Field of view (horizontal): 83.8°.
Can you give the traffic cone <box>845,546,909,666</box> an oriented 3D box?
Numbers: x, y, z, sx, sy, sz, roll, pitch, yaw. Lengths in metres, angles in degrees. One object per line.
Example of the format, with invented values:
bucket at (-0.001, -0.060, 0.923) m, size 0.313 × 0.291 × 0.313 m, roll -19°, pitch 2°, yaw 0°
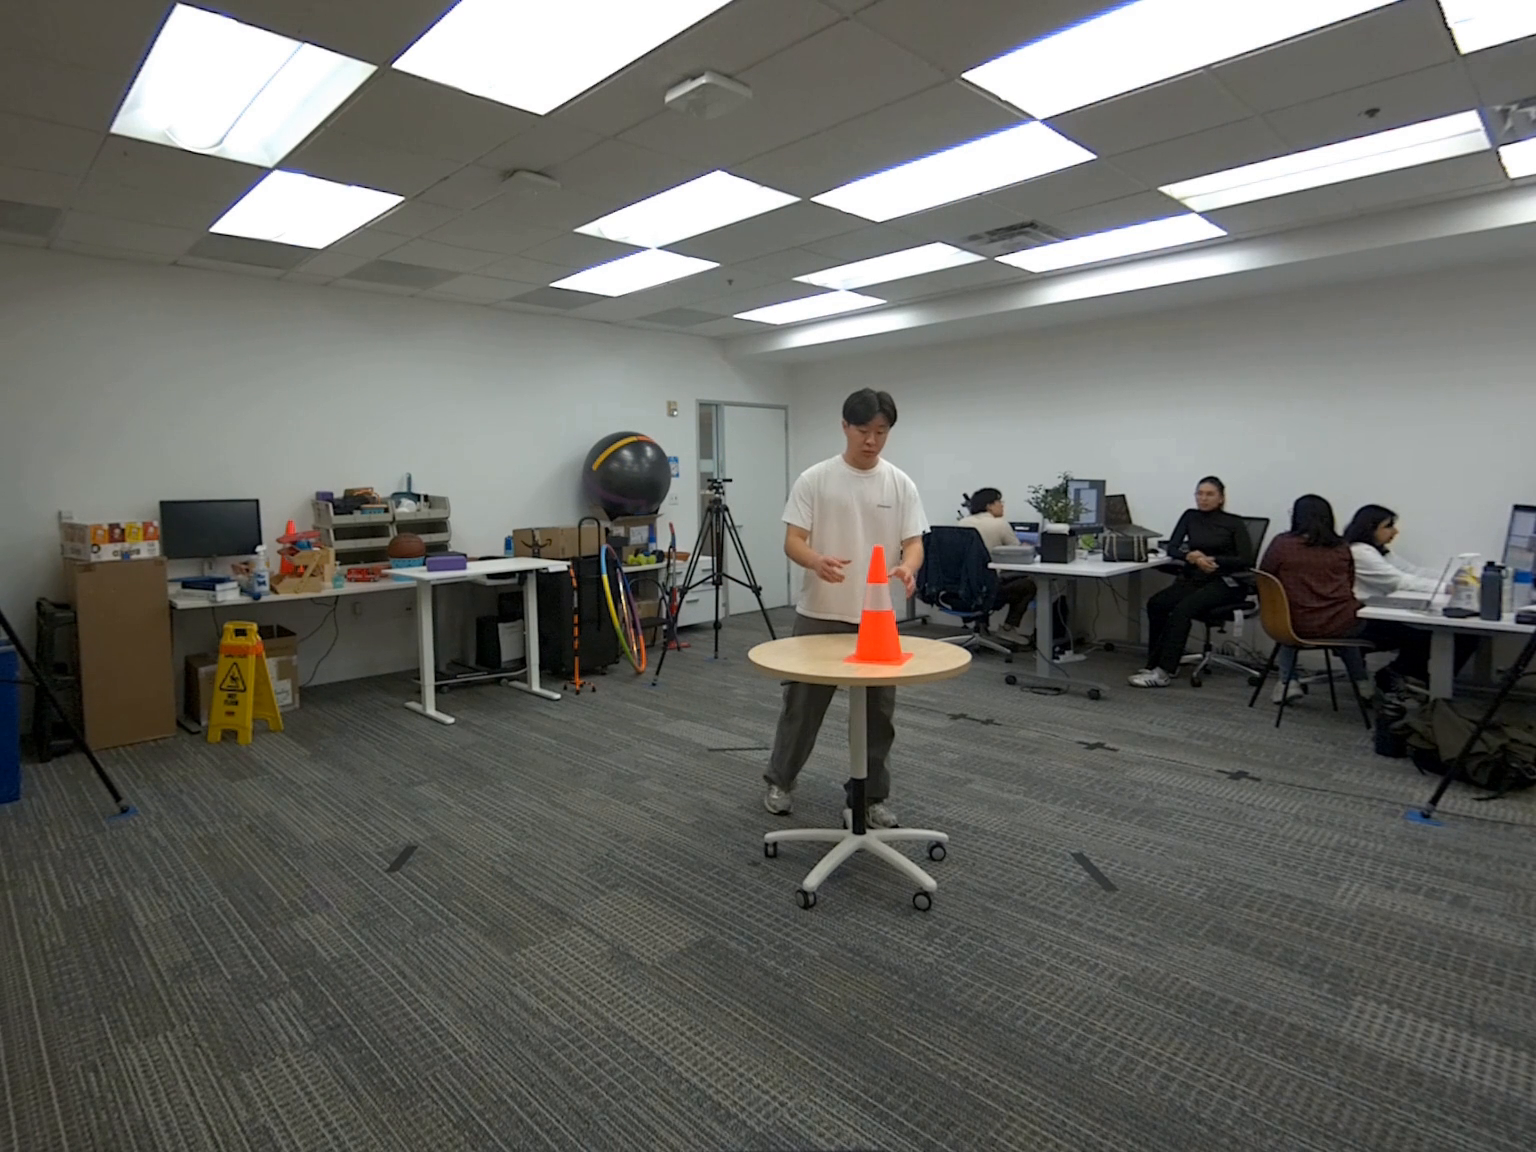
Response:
traffic cone at (0.370, 0.096, 2.886) m, size 0.208 × 0.382 × 0.201 m, roll 0°, pitch 5°, yaw 27°
